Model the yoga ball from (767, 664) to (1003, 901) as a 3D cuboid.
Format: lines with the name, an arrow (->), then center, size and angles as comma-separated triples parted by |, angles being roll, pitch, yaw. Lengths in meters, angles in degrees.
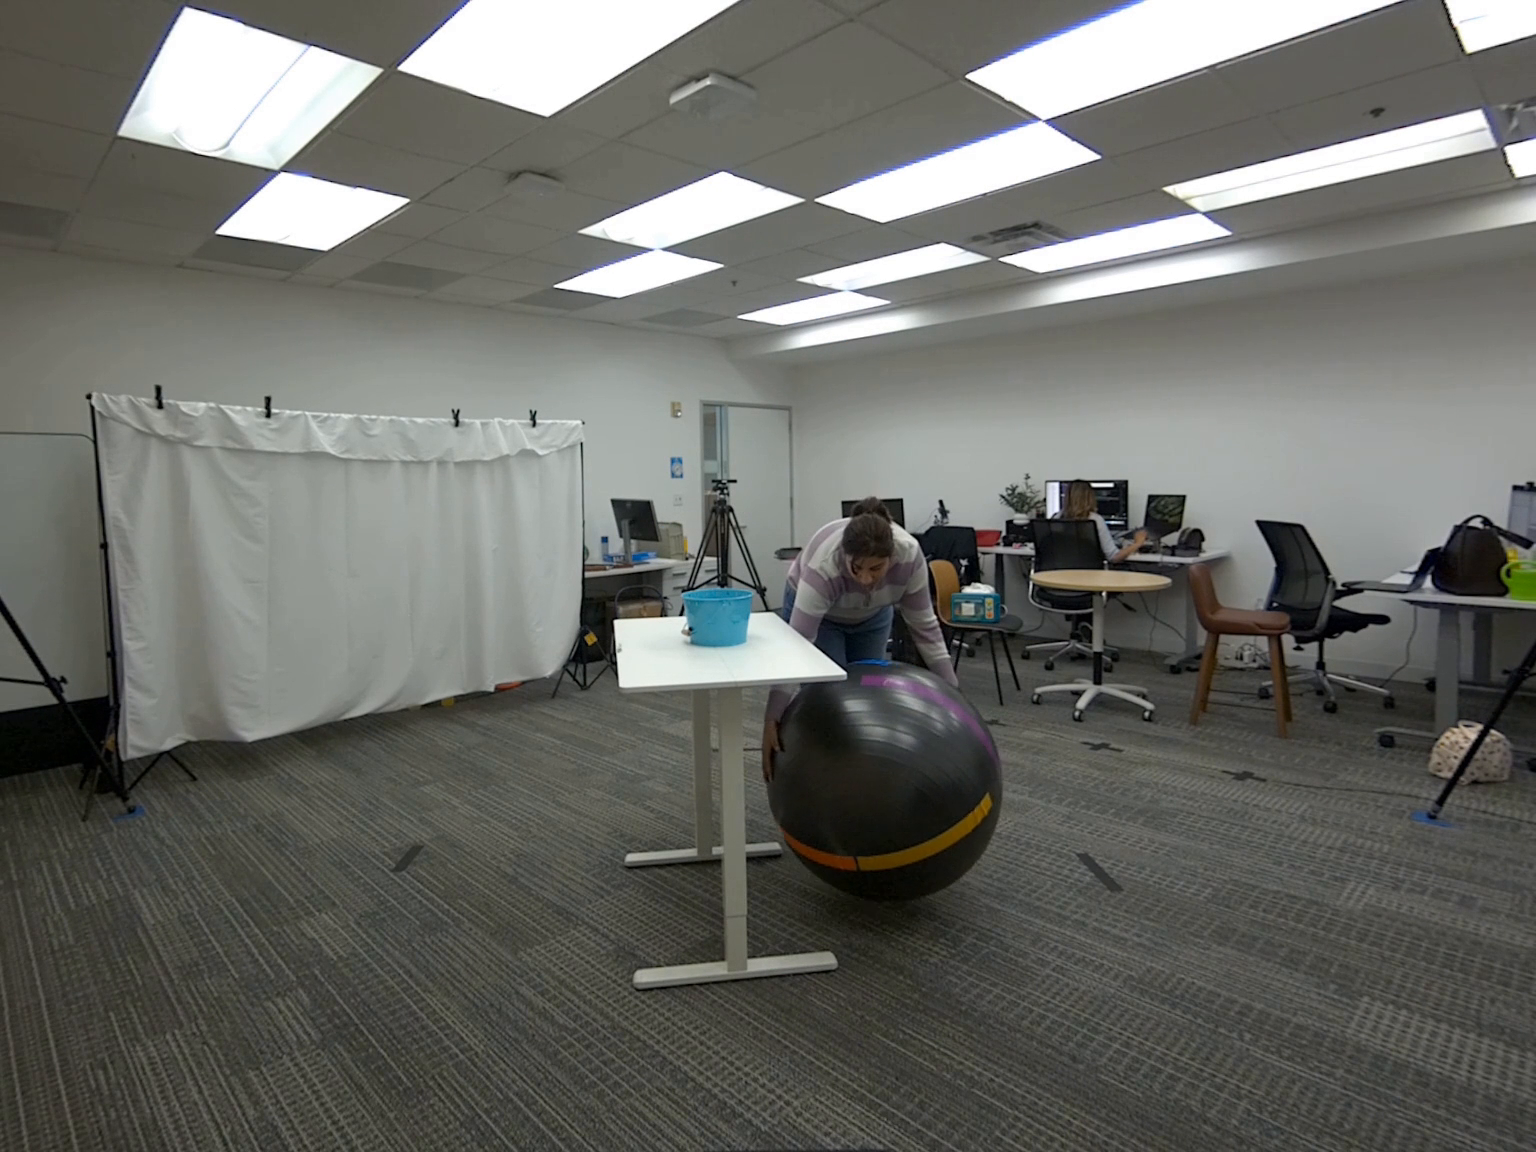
yoga ball -> 0.386, 0.664, 2.804 | 0.757, 0.755, 0.762 | -1, 5, -2
